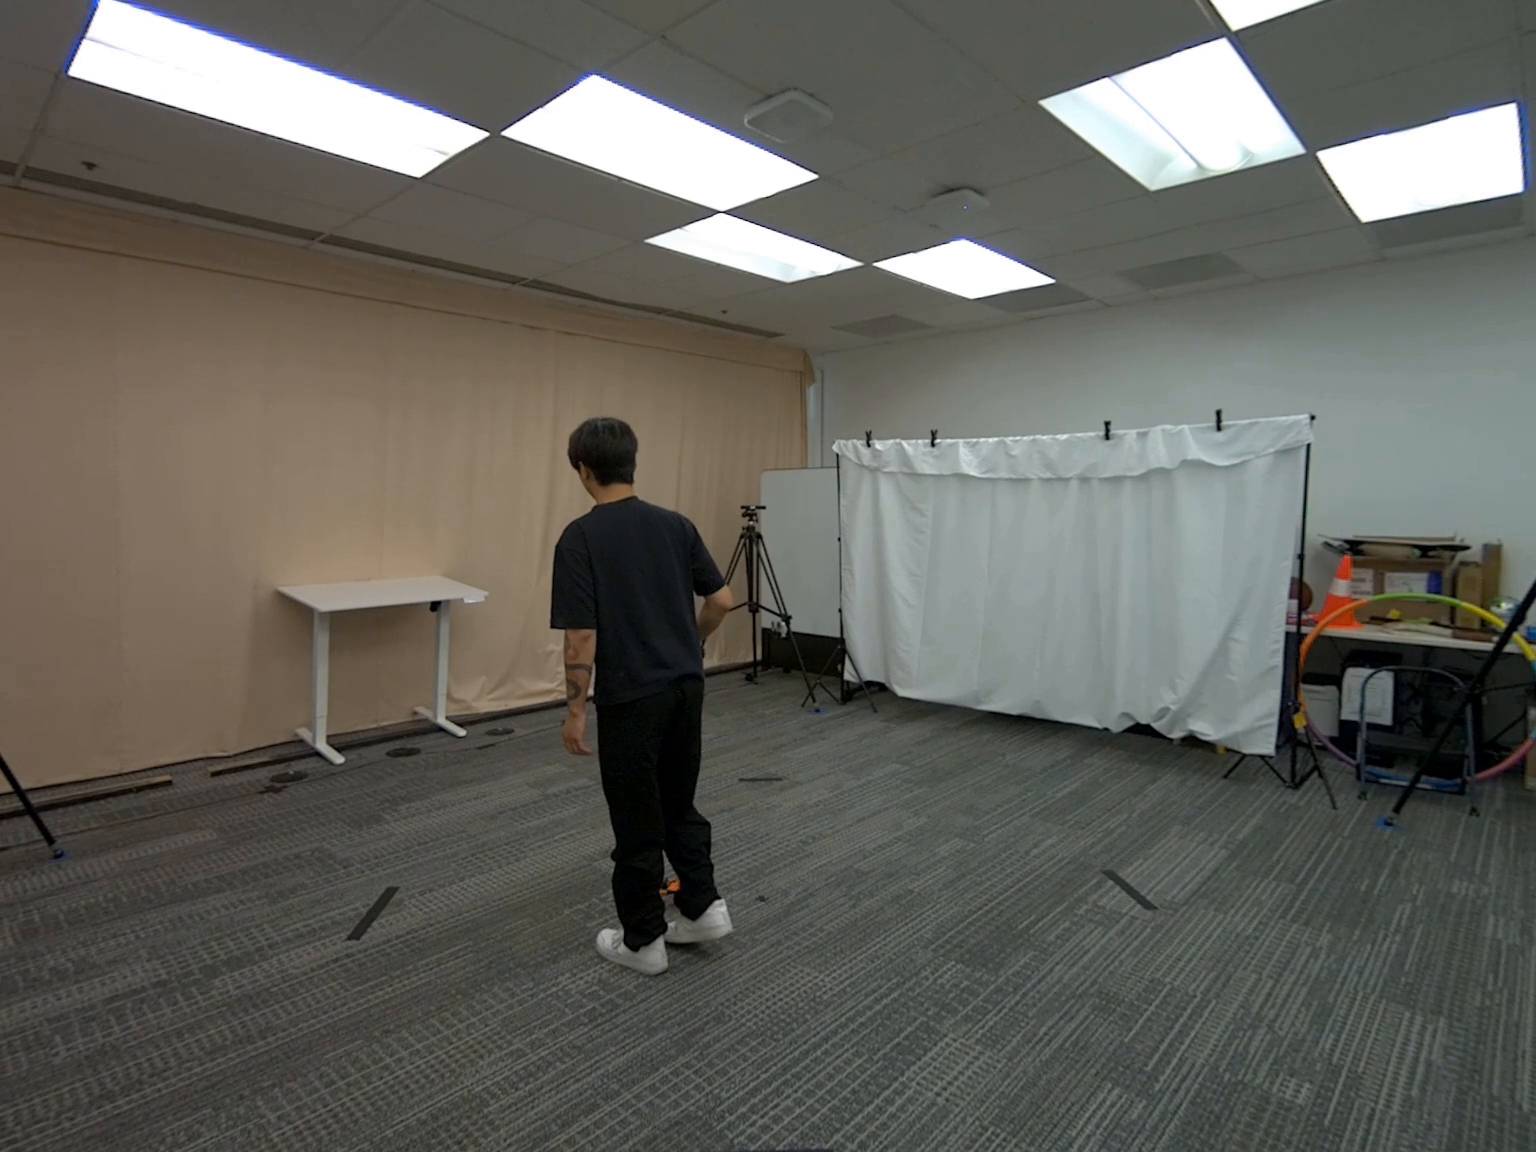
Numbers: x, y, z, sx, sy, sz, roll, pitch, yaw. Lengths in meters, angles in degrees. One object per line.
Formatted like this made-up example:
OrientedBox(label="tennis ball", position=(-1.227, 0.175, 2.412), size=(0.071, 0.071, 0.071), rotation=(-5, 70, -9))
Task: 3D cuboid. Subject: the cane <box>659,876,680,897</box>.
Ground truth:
OrientedBox(label="cane", position=(-0.297, 0.693, 2.913), size=(0.210, 0.905, 0.149), rotation=(1, 5, 15))
